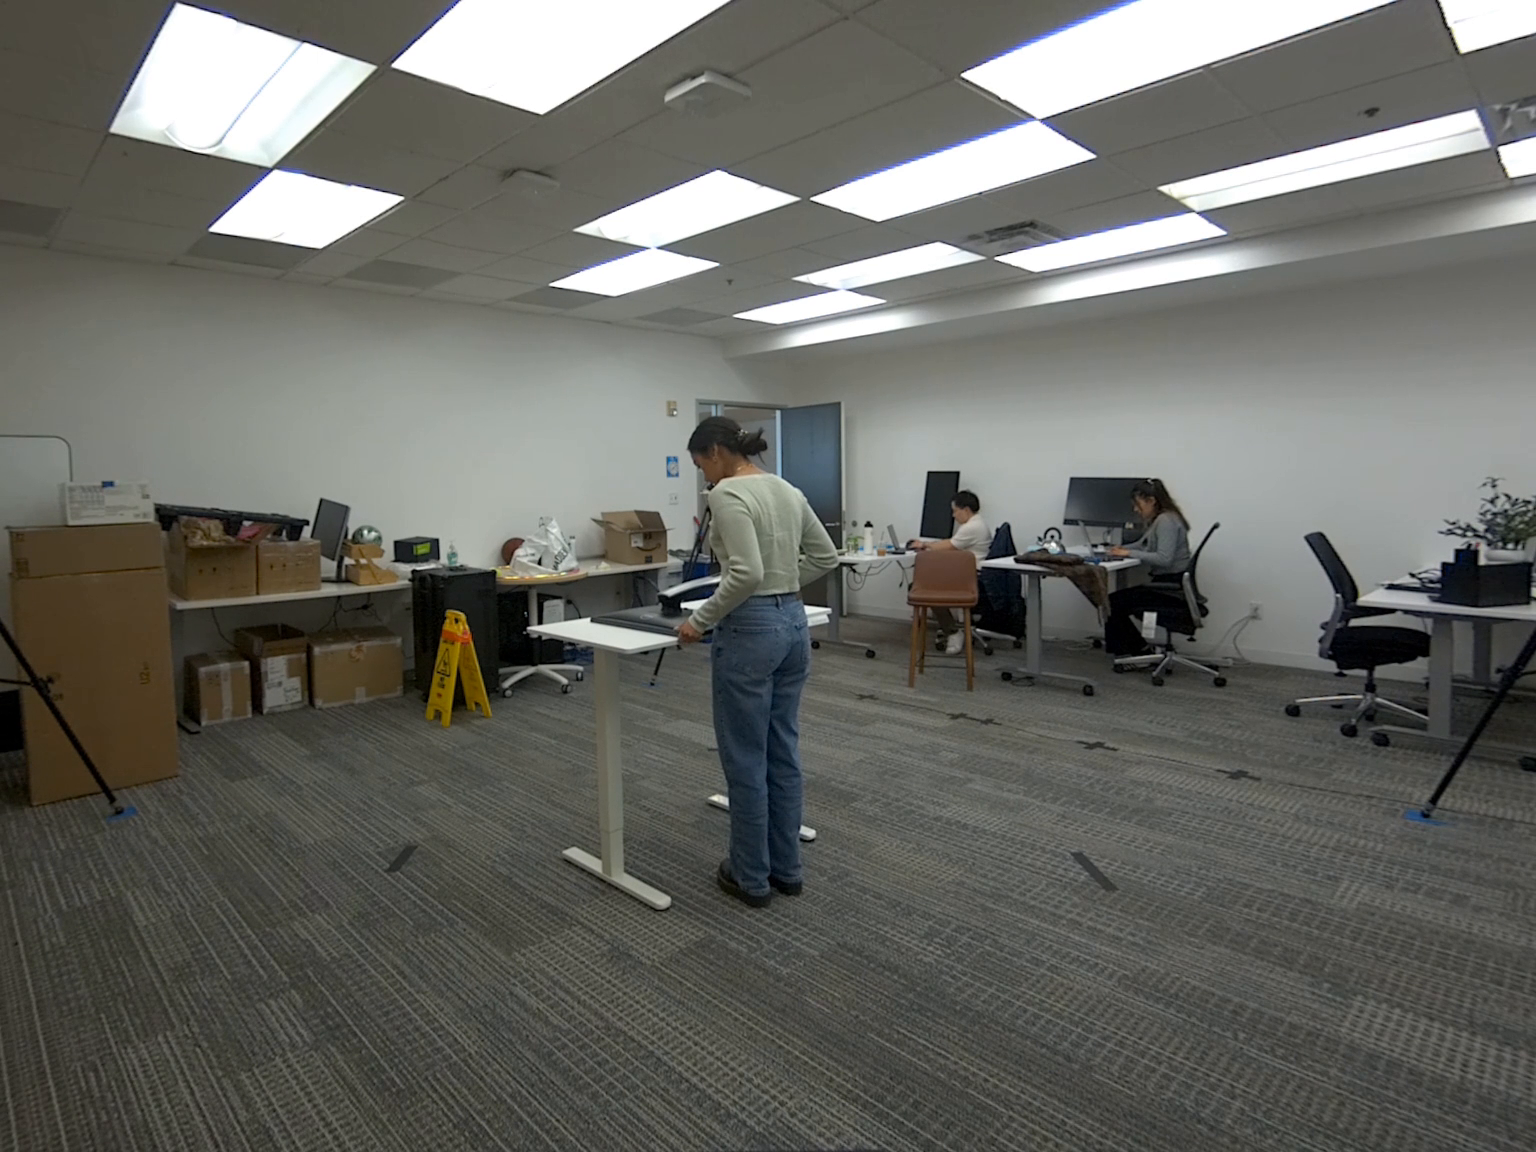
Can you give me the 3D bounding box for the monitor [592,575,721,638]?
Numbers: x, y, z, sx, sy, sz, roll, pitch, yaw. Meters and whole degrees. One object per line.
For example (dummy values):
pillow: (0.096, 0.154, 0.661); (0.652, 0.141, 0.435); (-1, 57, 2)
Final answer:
monitor: (-0.285, 0.103, 3.135); (0.555, 0.184, 0.515); (1, 20, 46)
